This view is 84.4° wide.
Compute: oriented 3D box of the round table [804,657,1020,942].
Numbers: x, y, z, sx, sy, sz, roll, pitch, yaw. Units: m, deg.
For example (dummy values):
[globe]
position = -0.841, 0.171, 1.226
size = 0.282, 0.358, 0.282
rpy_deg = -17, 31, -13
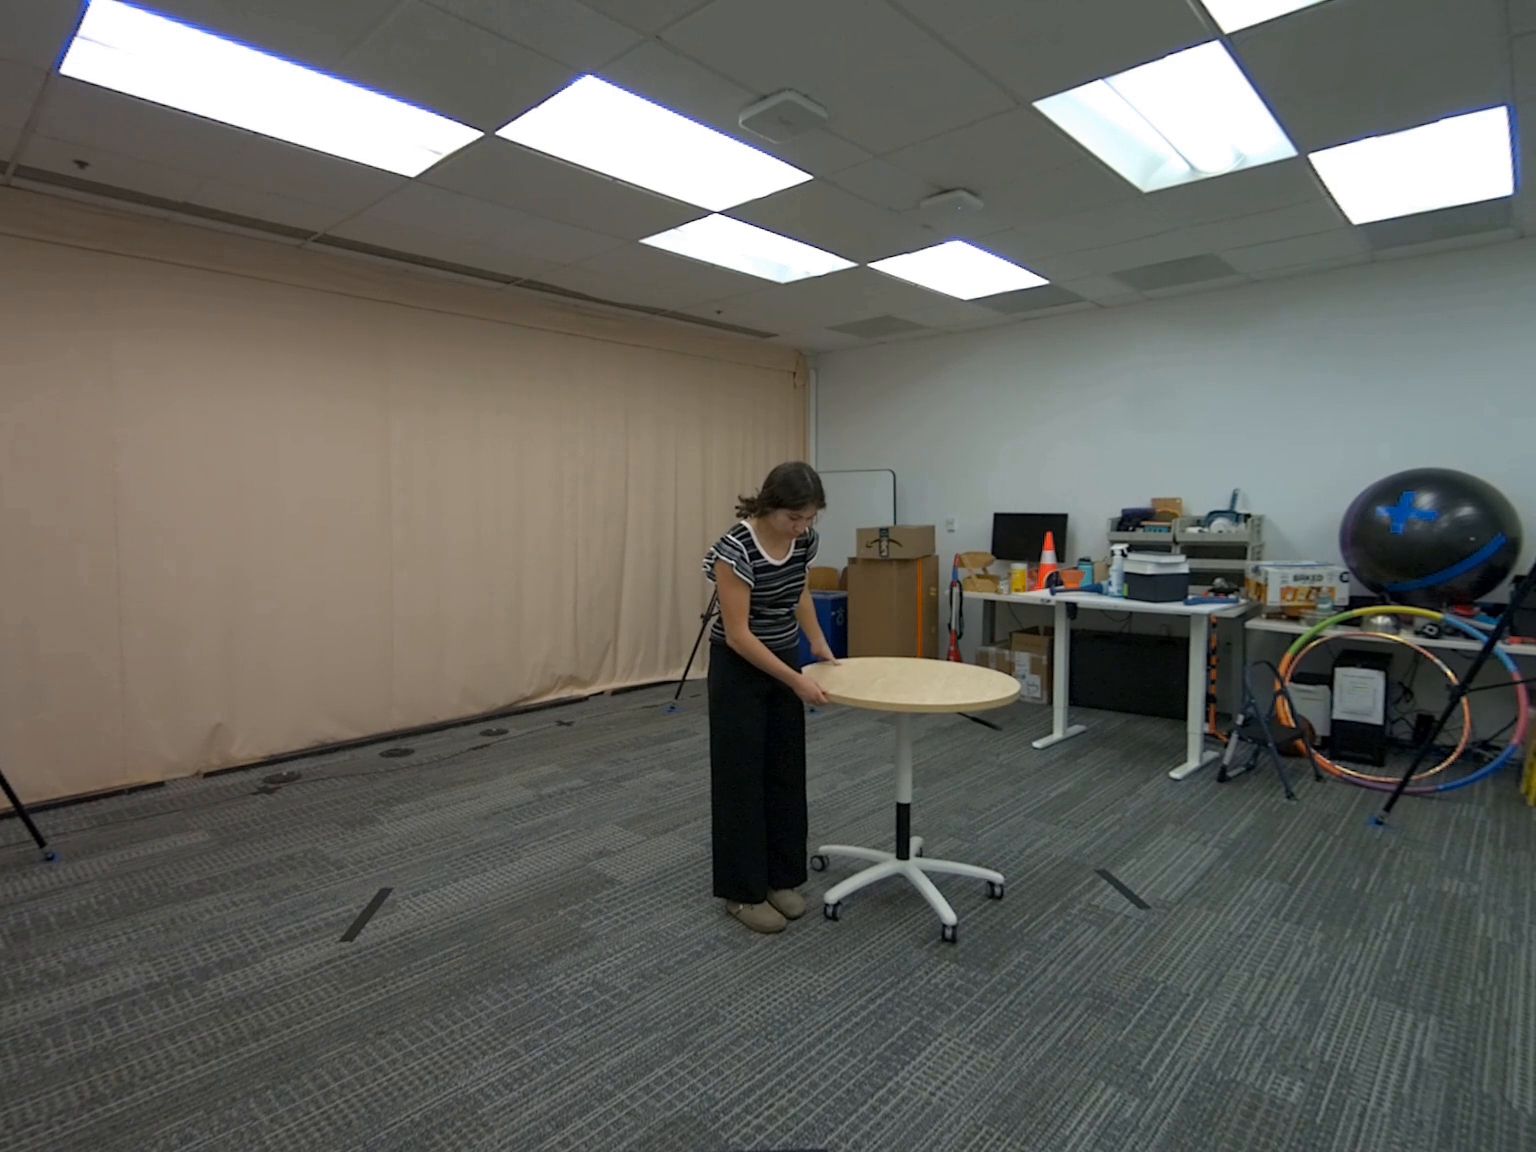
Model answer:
[round table]
position = 0.471, 0.750, 2.972
size = 0.784, 0.785, 0.788
rpy_deg = 0, 4, -2
